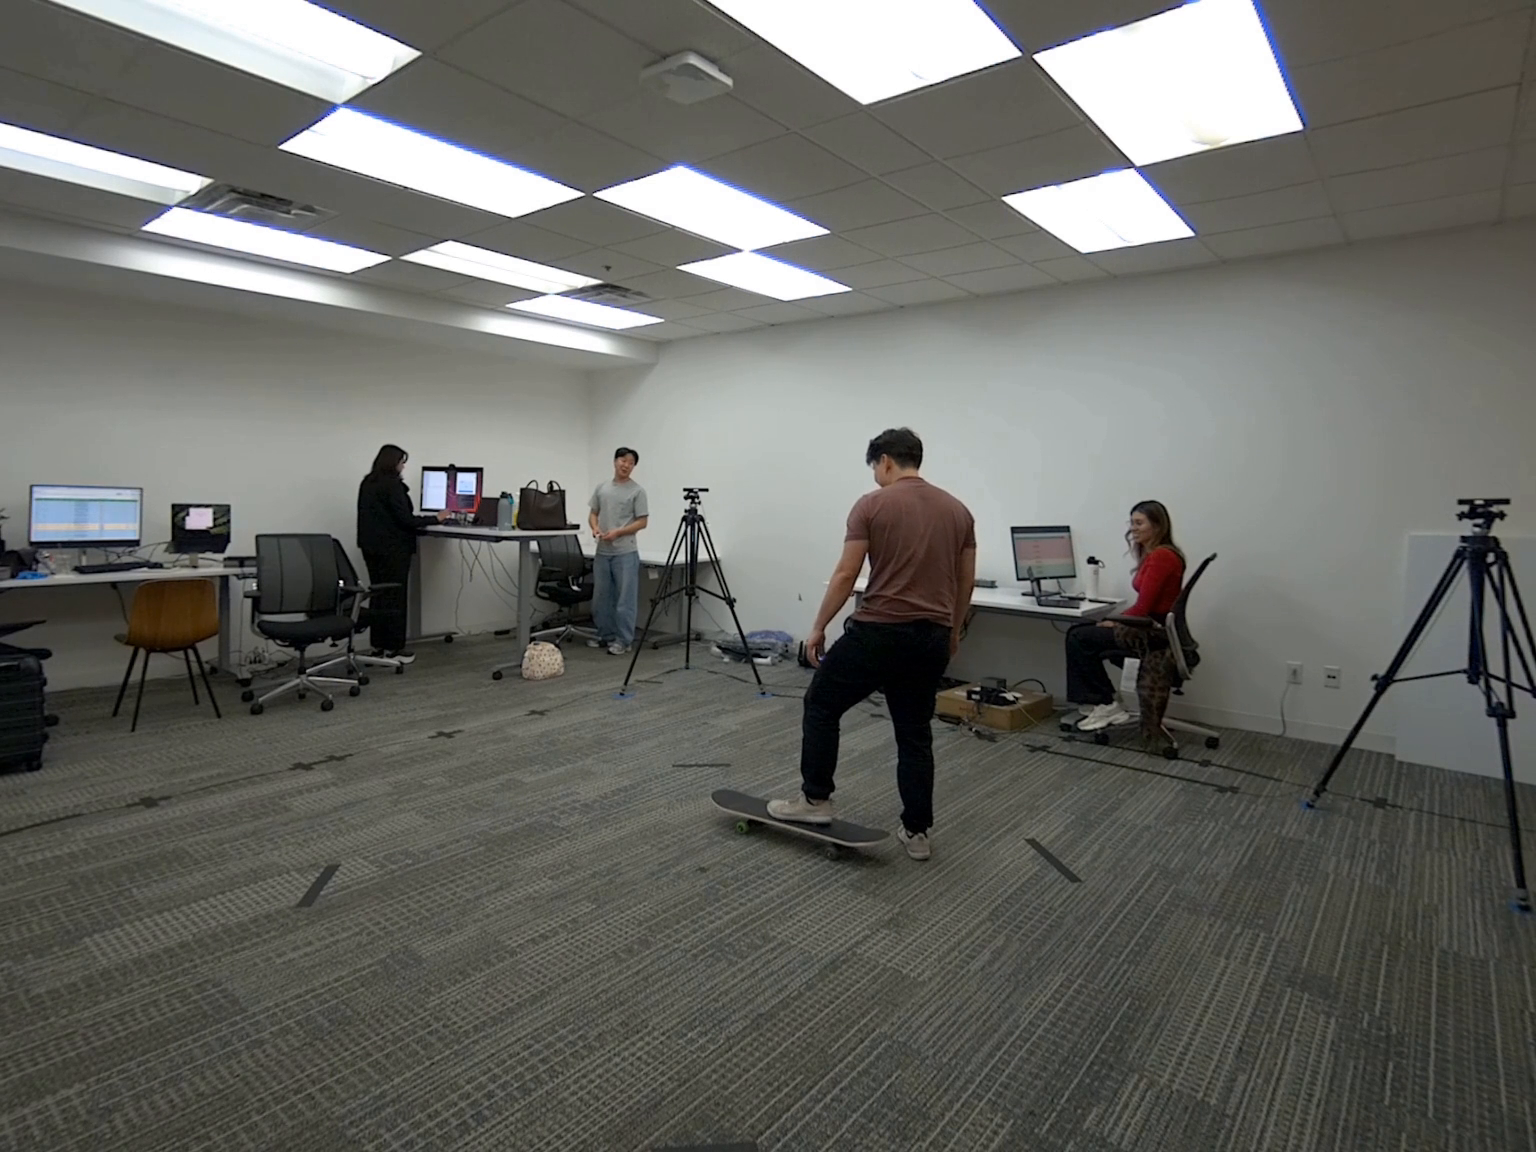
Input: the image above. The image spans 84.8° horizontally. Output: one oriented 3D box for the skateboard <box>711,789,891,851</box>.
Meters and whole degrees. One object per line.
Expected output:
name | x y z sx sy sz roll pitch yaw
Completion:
skateboard | 0.106 0.993 3.399 0.810 0.110 0.188 5 6 33
